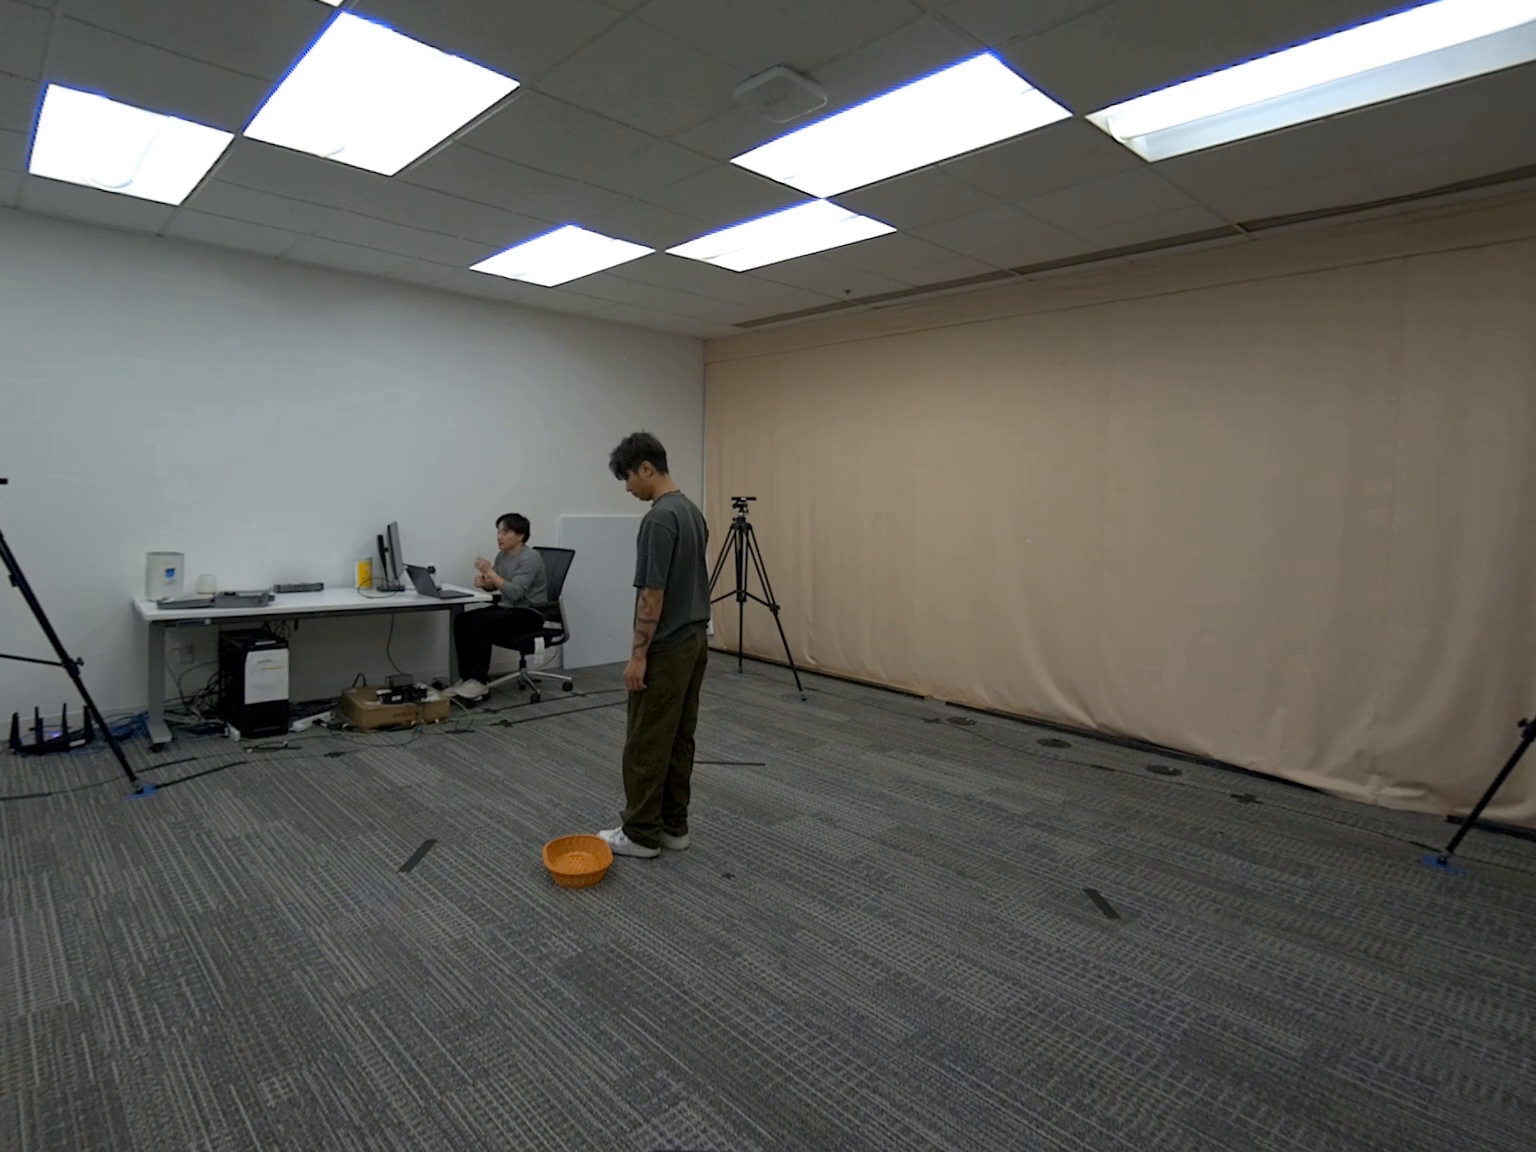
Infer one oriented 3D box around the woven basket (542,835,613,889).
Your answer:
[{"bbox_3d":[-0.710,1.054,3.112,0.249,0.073,0.356,0,6,-16],"label":"woven basket"}]
